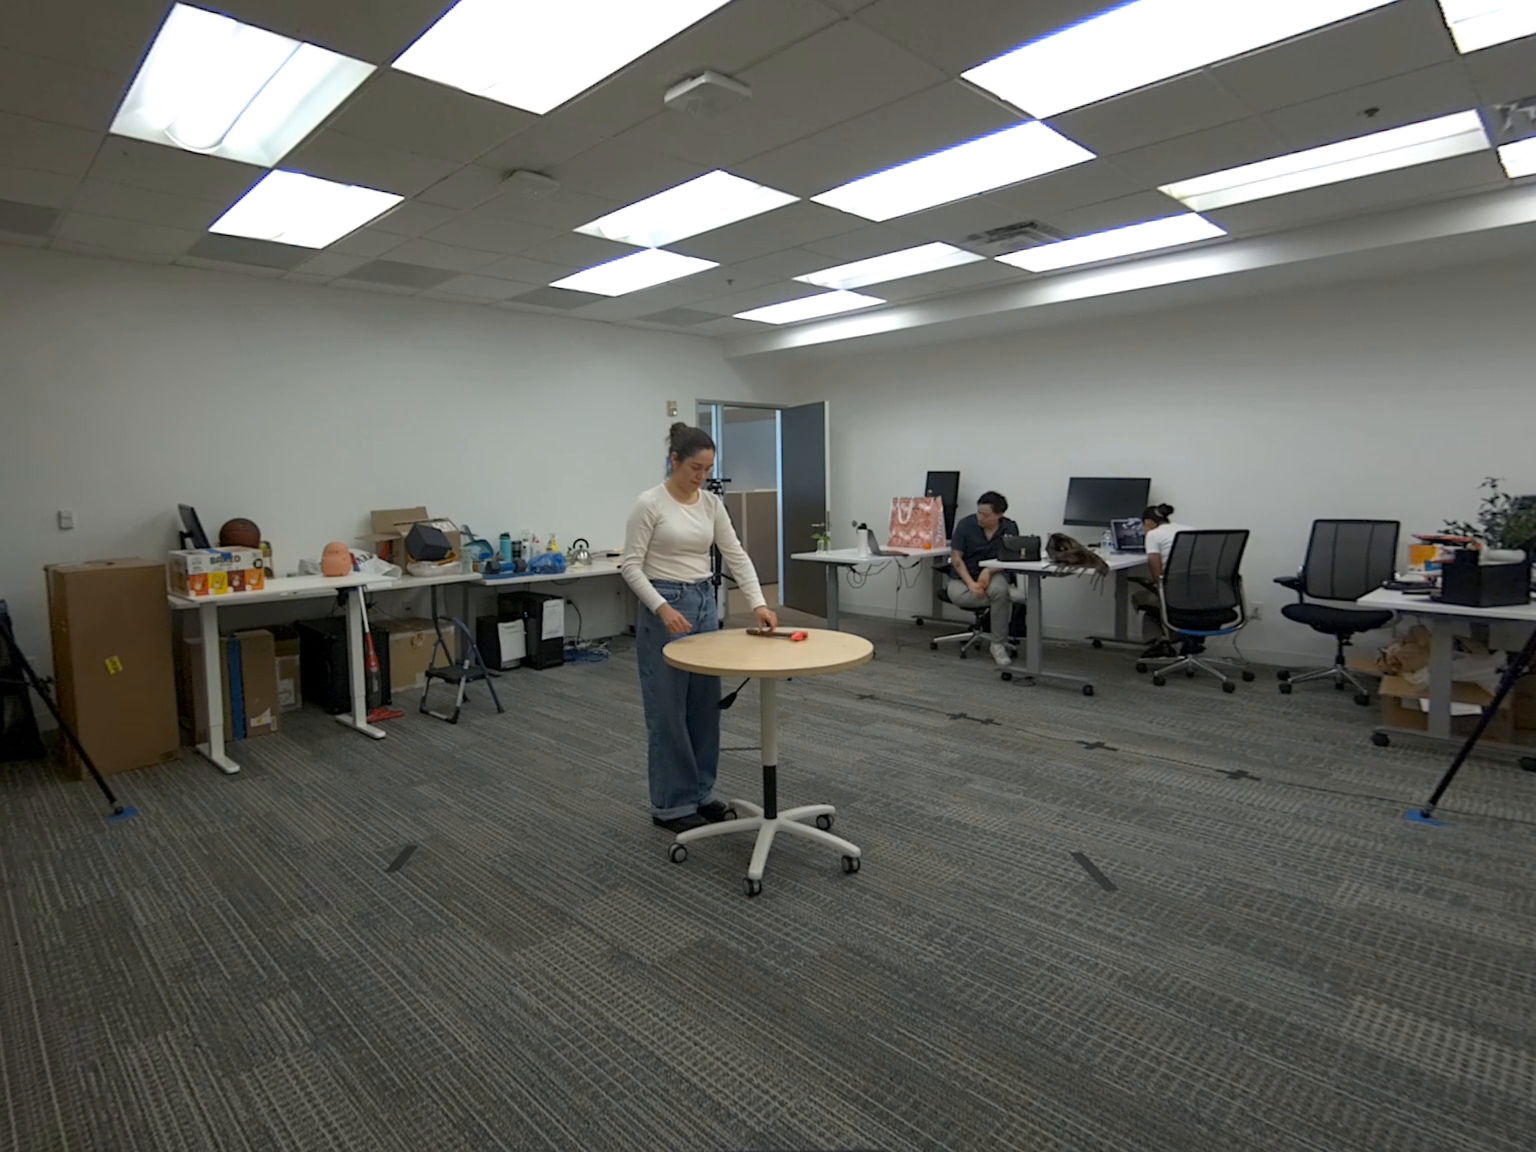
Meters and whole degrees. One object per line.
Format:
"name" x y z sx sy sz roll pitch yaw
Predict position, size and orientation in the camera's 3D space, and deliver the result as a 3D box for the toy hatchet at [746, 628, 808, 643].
"toy hatchet" 0.042 0.220 3.318 0.128 0.029 0.278 -8 9 -42
